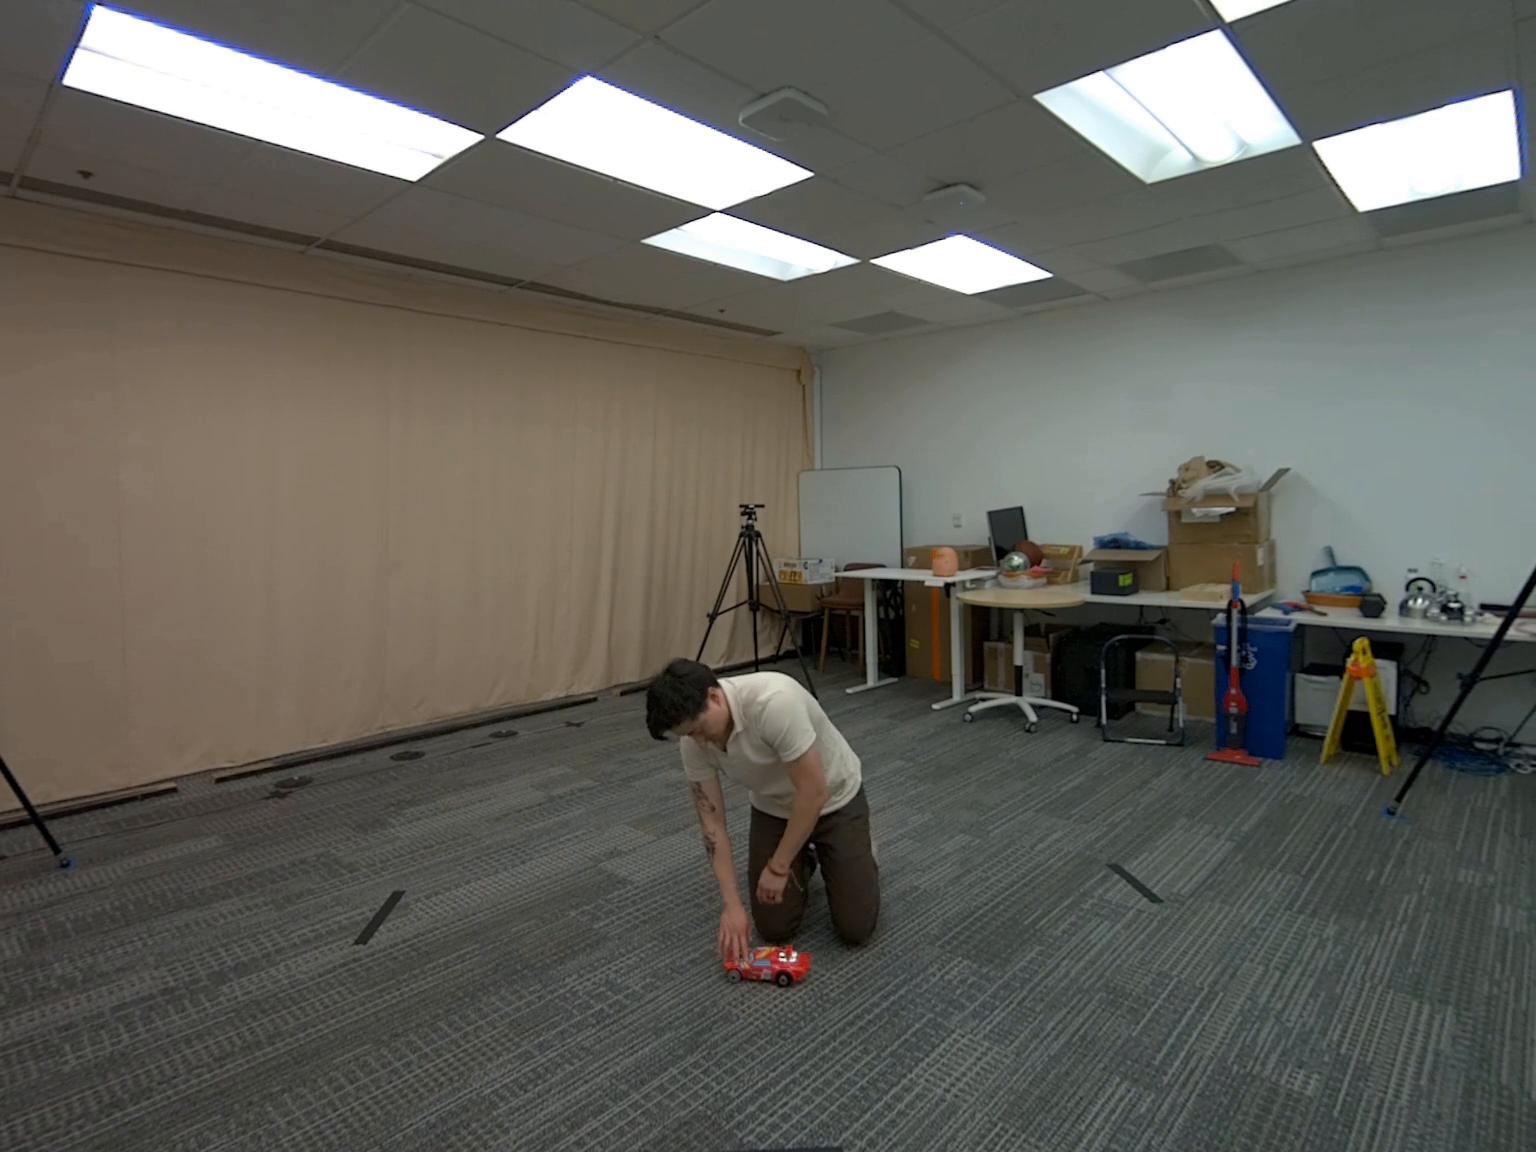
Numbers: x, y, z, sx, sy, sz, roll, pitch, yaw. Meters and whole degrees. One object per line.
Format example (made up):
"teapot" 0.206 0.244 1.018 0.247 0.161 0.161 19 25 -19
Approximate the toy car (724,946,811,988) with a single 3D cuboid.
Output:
"toy car" 0.006 1.152 2.484 0.257 0.083 0.129 -13 2 10
